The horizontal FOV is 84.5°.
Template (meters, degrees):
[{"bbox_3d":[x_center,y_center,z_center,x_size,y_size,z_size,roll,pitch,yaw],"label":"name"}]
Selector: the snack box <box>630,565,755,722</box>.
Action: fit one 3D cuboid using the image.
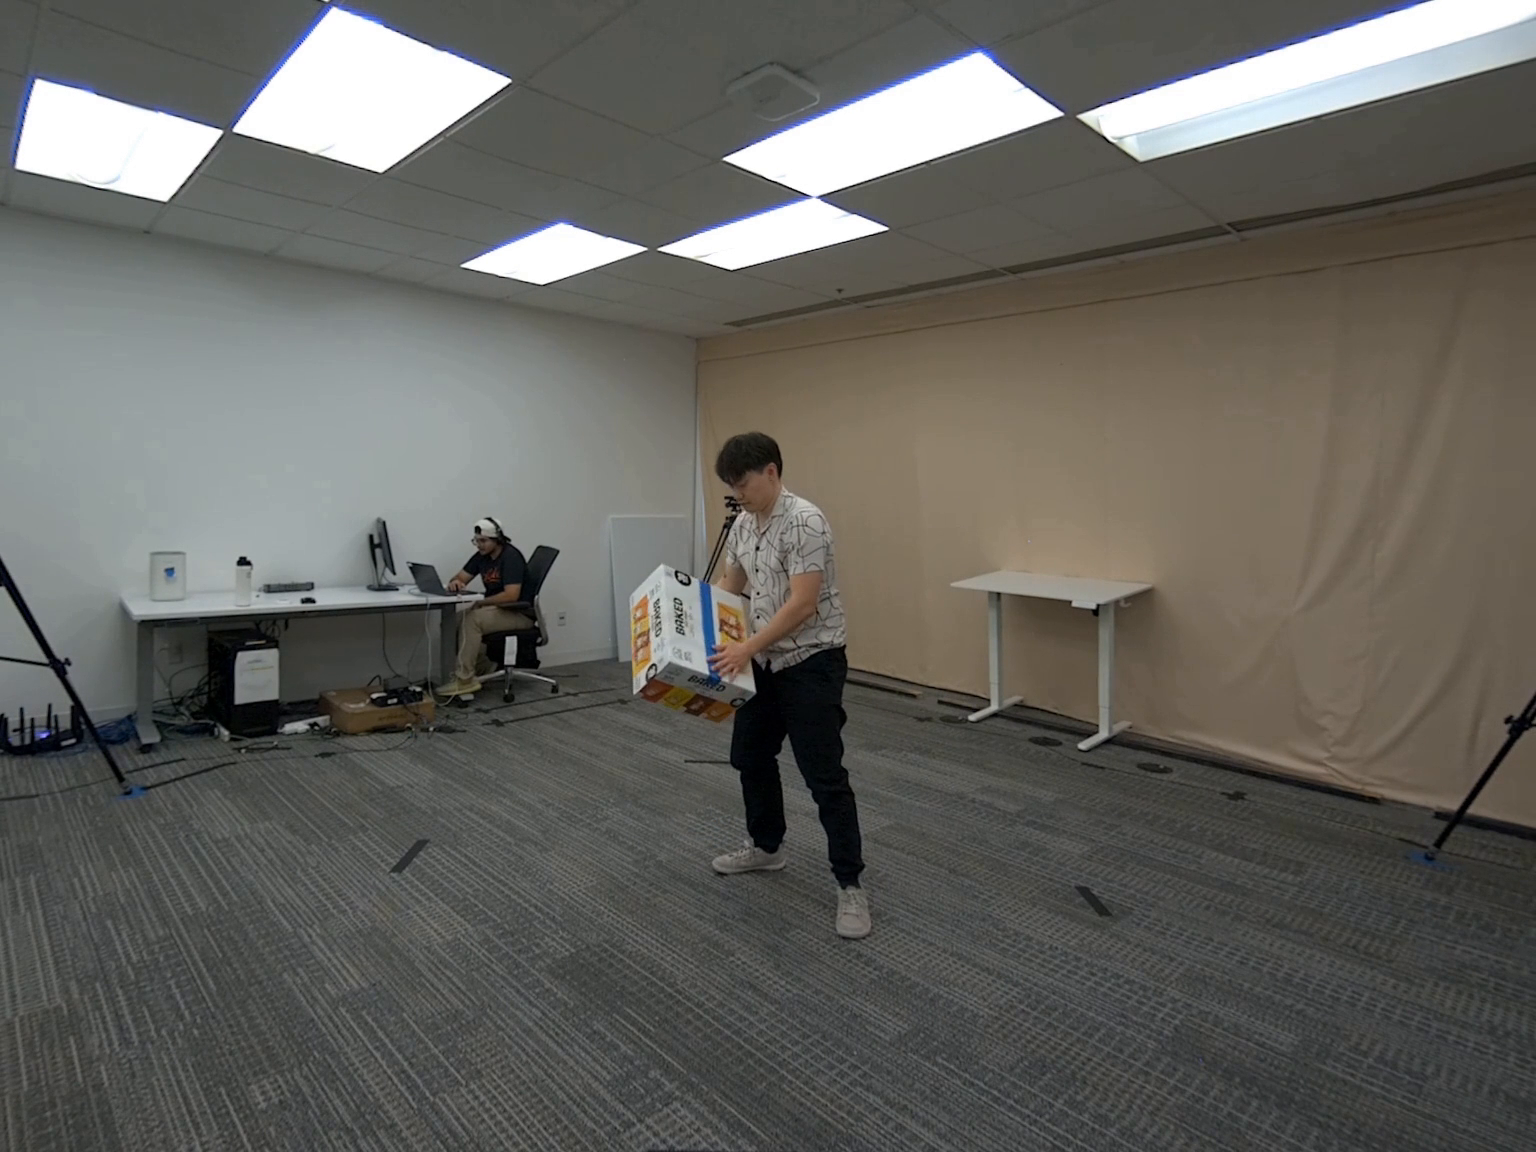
[{"bbox_3d":[-0.266,0.233,2.787,0.331,0.415,0.206,24,-52,-32],"label":"snack box"}]
